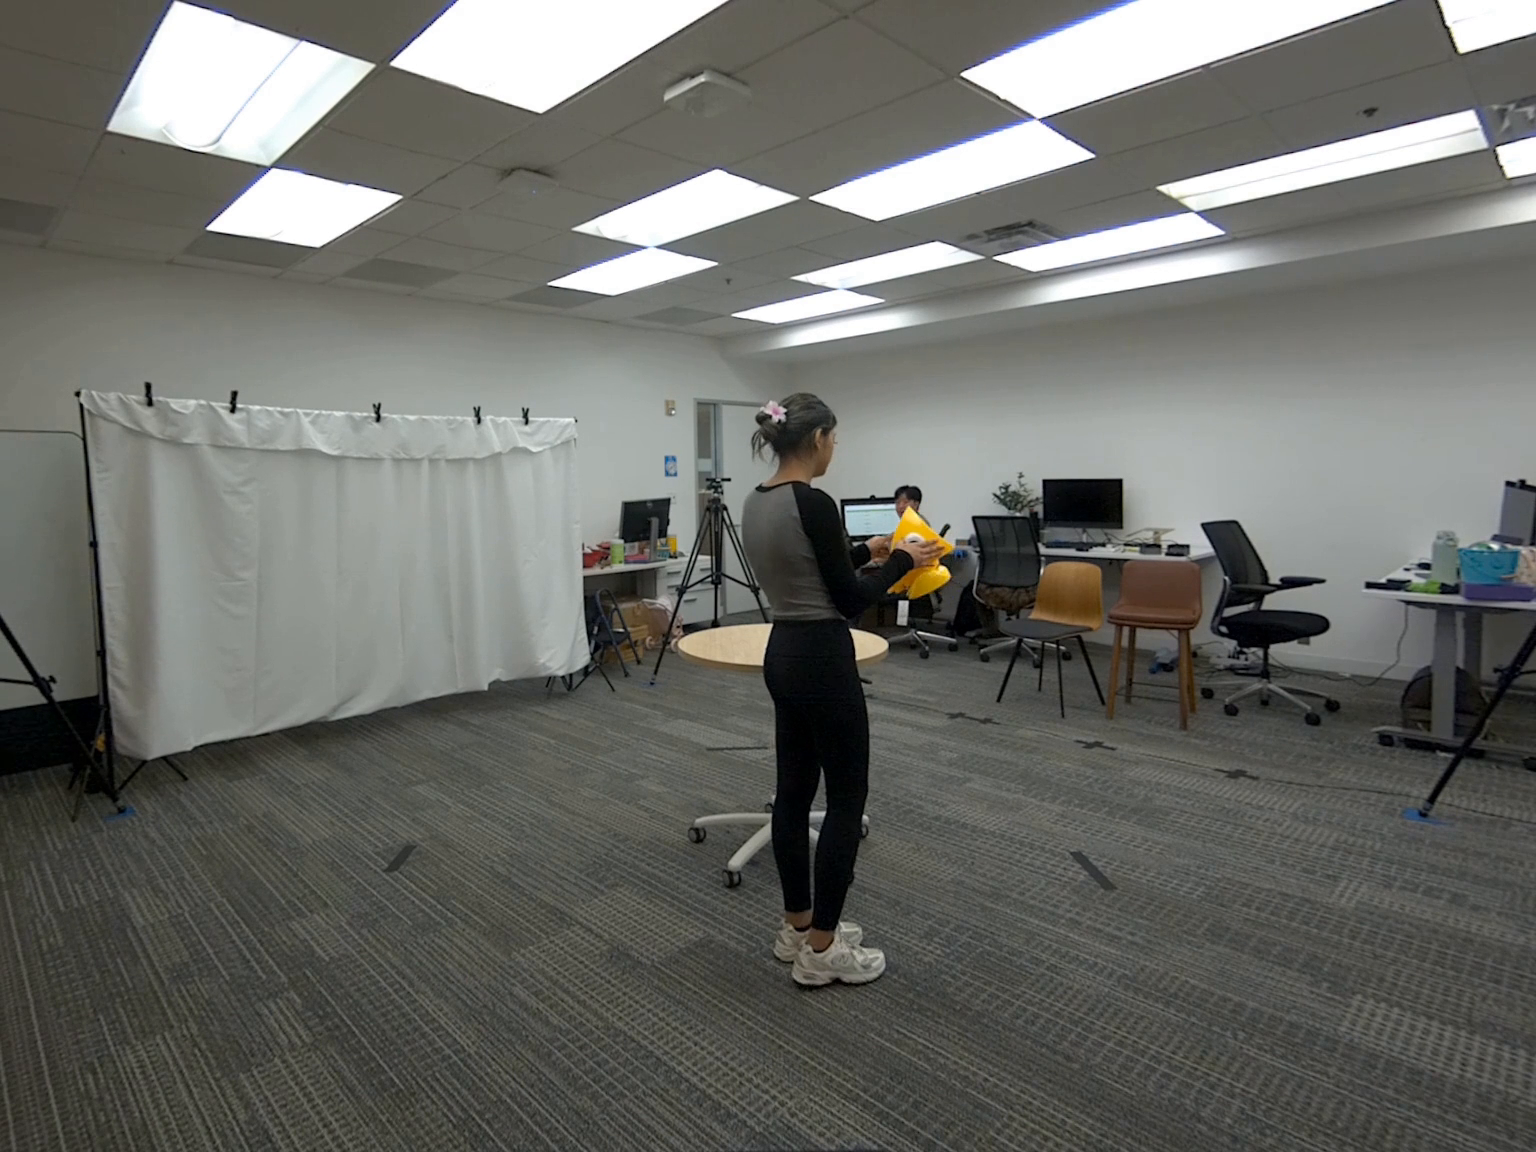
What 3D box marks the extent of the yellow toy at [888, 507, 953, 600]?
[{"bbox_3d":[0.436,-0.082,2.593,0.192,0.227,0.209,-29,14,-15],"label":"yellow toy"}]
